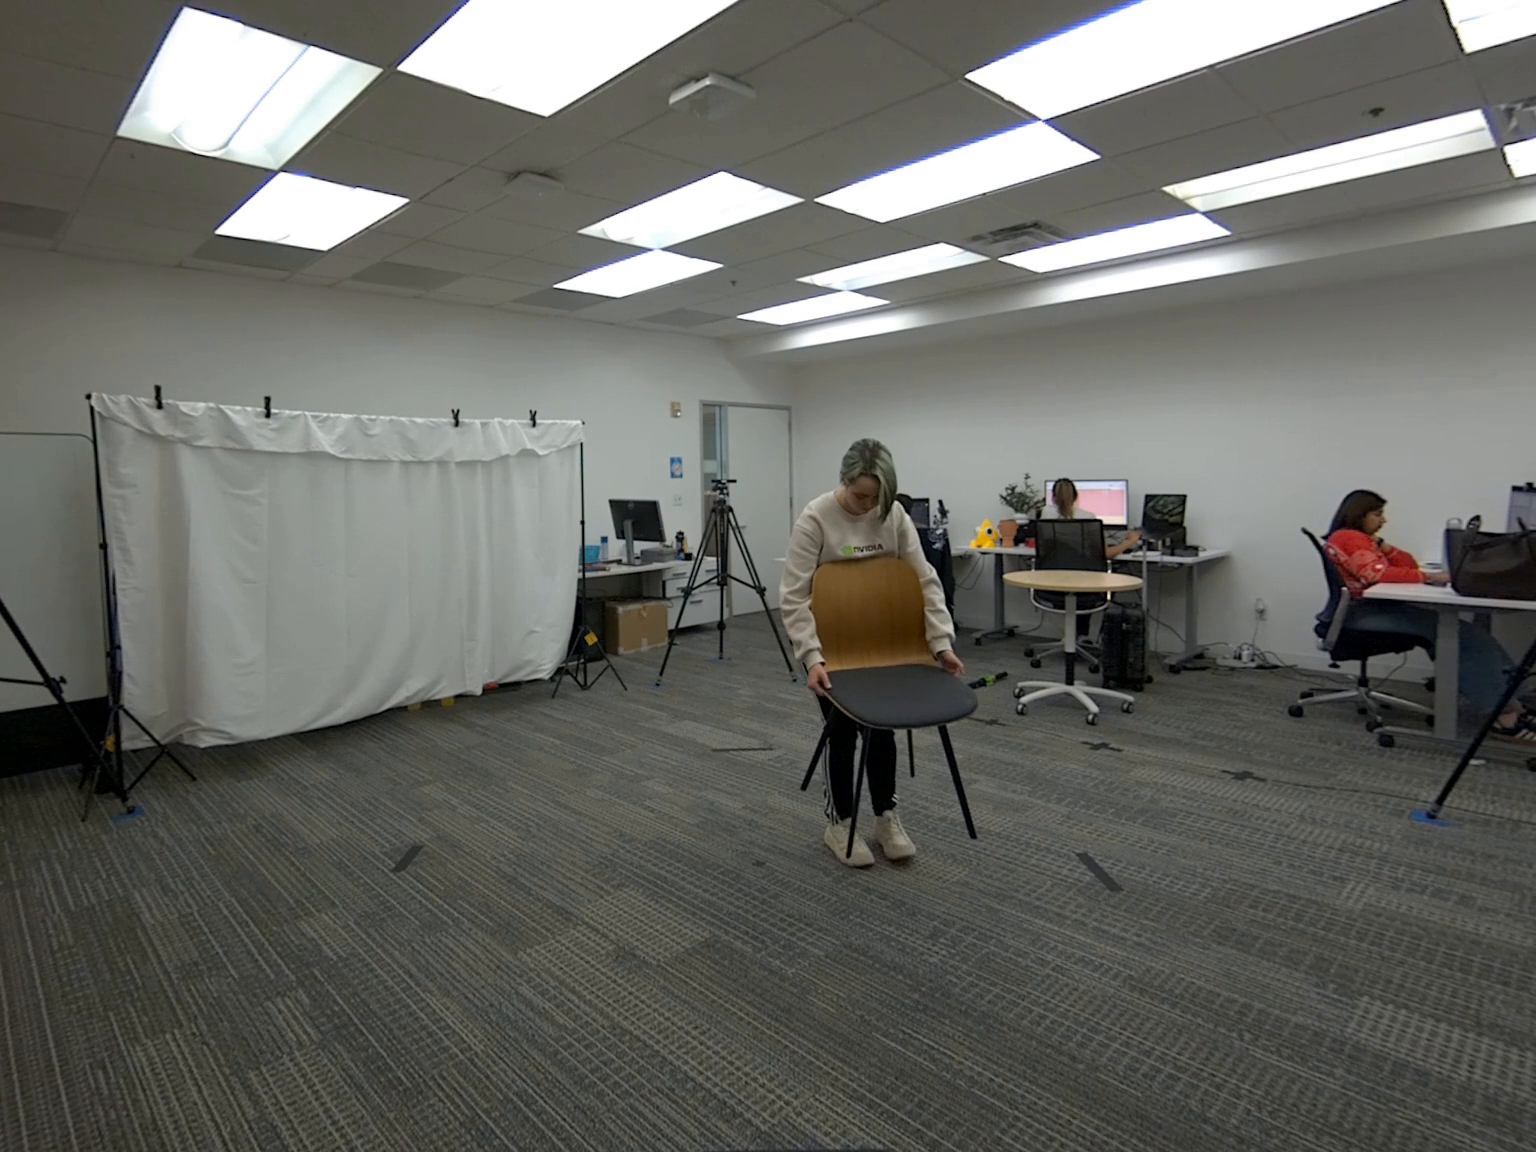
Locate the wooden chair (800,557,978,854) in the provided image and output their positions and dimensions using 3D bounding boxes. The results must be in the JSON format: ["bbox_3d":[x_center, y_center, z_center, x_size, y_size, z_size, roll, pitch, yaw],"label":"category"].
[{"bbox_3d":[0.406,0.416,2.845,0.472,0.871,0.534,-3,8,-15],"label":"wooden chair"}]
